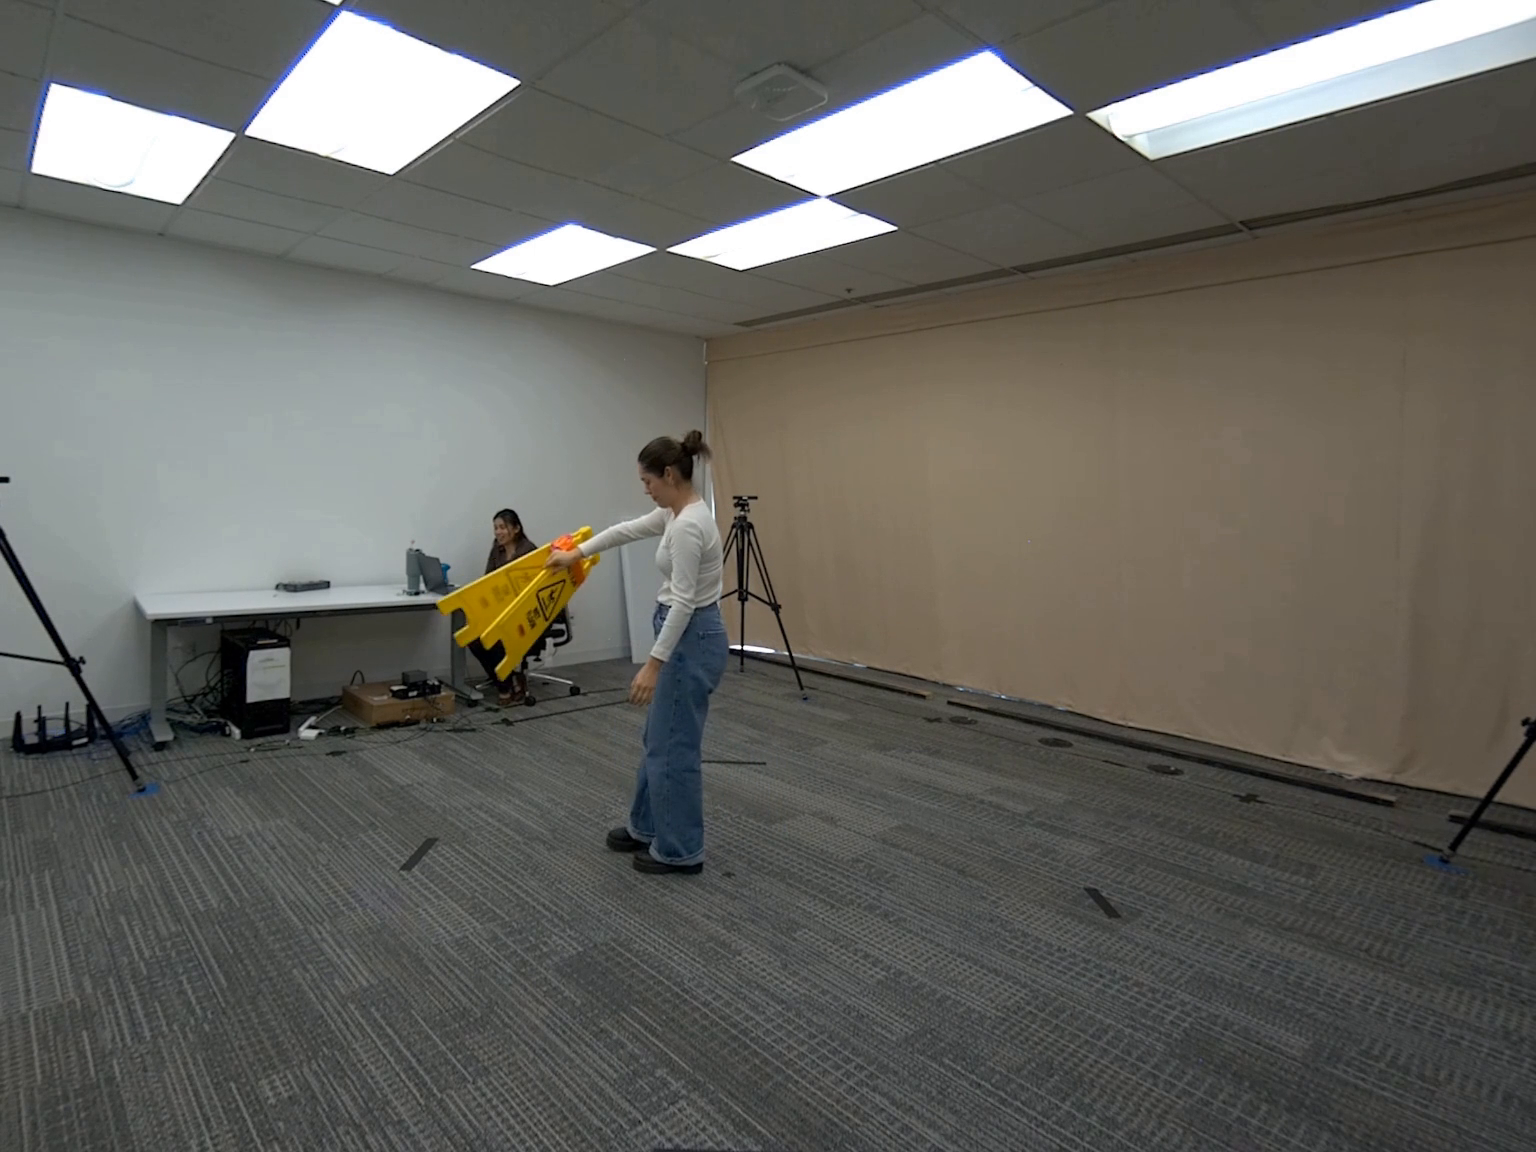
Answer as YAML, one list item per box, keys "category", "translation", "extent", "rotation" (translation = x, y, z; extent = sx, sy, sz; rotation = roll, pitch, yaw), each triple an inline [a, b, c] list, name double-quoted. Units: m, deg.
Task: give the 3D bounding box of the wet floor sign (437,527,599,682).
- category: "wet floor sign"
  translation: [-0.909, 0.063, 3.305]
  extent: [0.297, 0.275, 0.645]
  rotation: [29, 57, 29]
